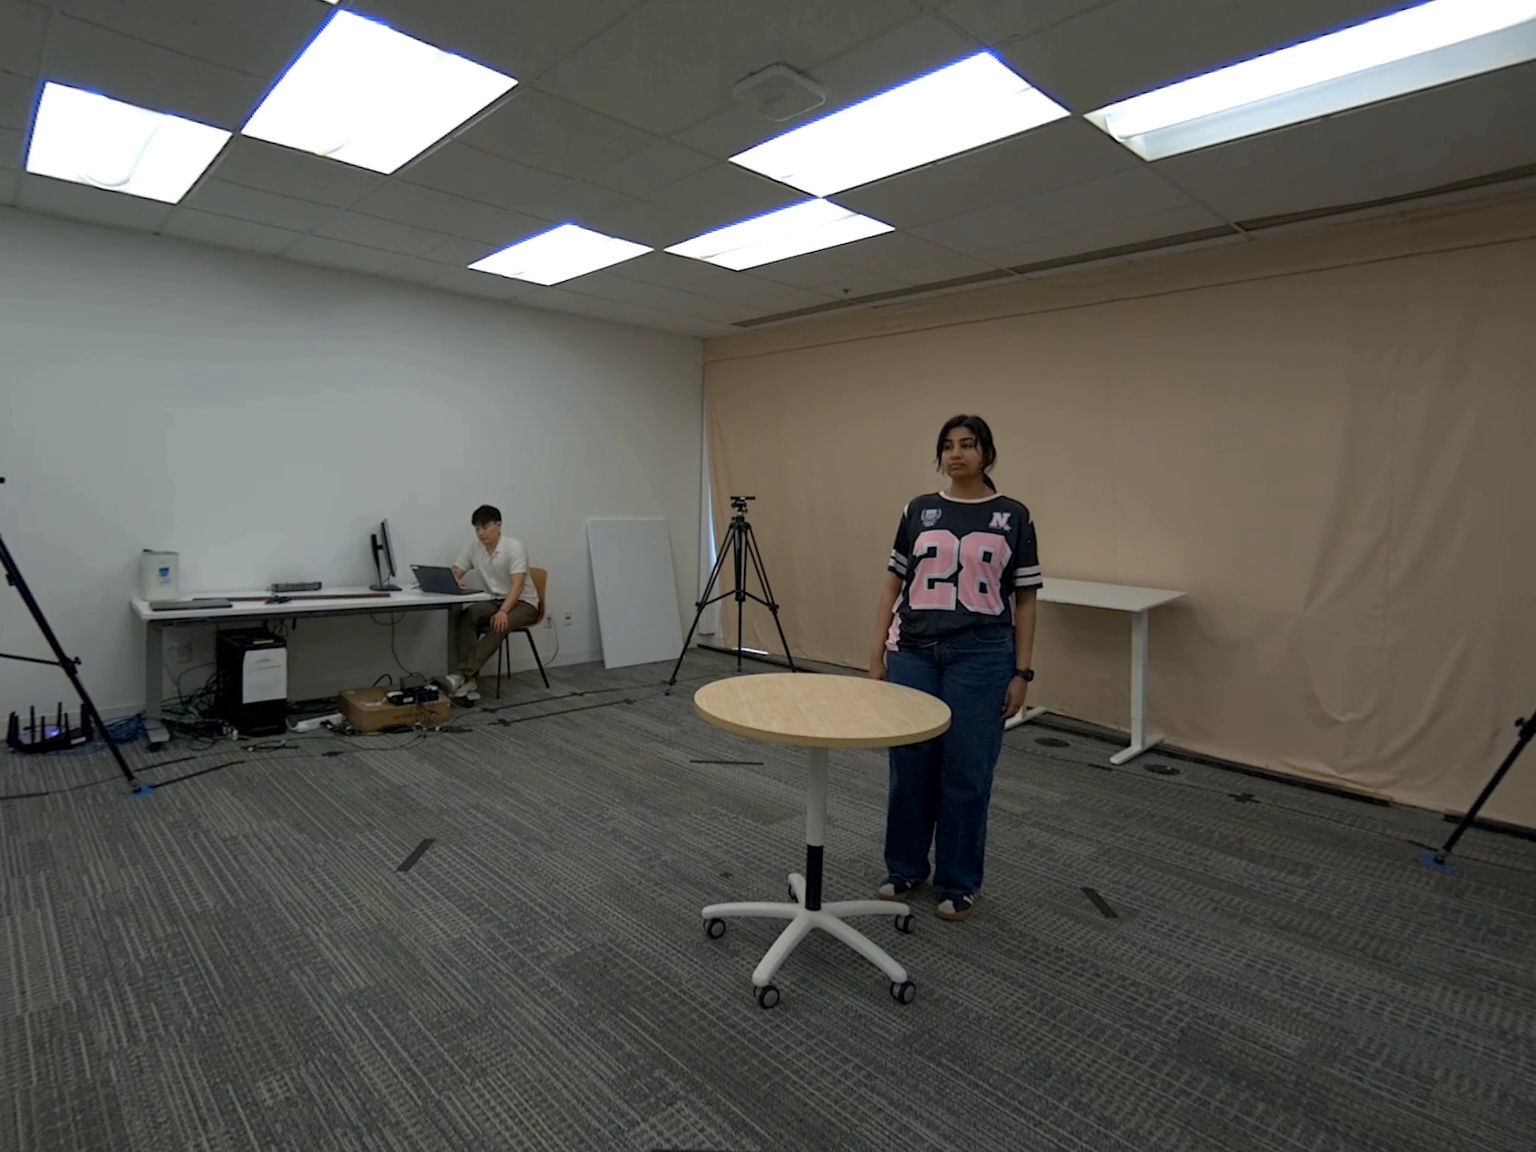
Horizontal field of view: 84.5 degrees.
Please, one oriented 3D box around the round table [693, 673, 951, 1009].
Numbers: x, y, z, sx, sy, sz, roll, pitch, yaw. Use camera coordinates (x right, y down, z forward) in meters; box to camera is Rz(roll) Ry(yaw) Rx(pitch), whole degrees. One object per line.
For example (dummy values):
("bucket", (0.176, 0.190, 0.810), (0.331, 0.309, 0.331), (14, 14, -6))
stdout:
("round table", (0.137, 0.773, 2.566), (0.763, 0.791, 0.767), (2, 5, -2))
